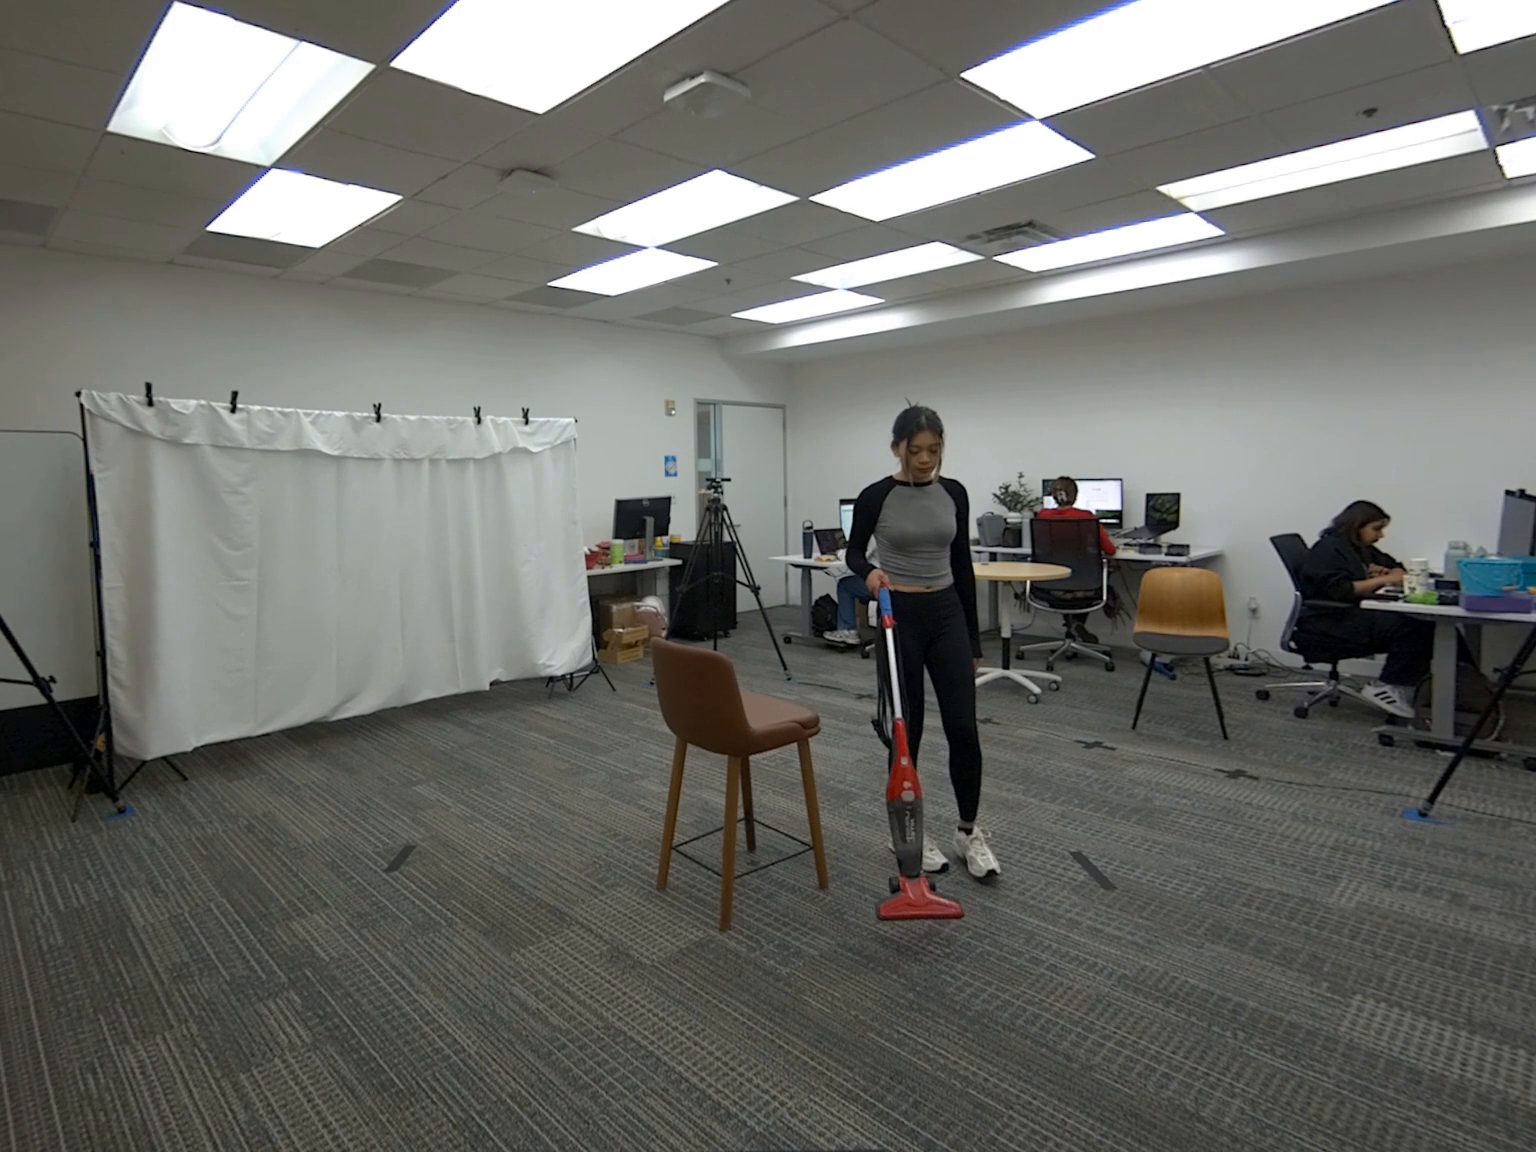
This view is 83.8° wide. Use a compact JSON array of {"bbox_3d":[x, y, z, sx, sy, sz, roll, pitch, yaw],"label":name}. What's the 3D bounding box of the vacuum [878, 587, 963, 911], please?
[{"bbox_3d":[0.411,0.467,2.740,0.254,1.072,0.140,-6,-24,8],"label":"vacuum"}]
